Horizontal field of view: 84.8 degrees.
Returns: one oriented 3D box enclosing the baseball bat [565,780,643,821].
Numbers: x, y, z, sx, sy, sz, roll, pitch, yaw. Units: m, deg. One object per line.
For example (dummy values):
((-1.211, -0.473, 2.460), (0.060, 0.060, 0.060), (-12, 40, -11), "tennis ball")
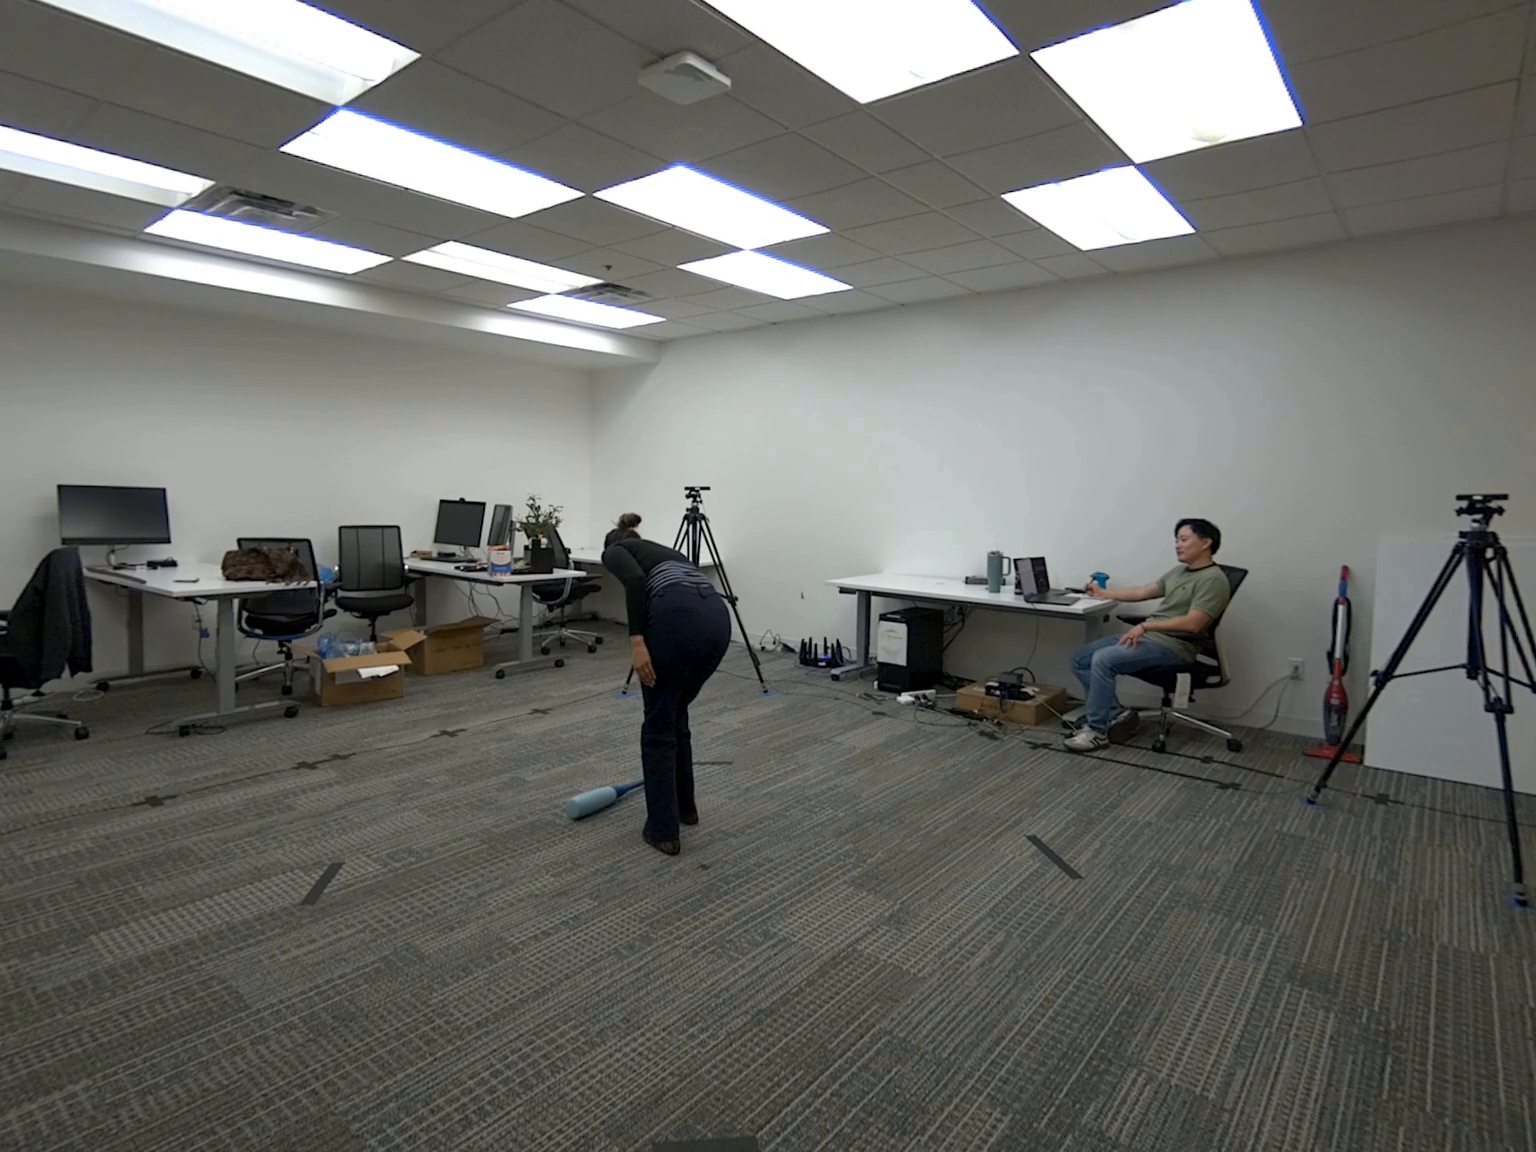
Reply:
((-0.695, 0.957, 3.757), (0.092, 0.089, 0.528), (3, 4, 31), "baseball bat")
